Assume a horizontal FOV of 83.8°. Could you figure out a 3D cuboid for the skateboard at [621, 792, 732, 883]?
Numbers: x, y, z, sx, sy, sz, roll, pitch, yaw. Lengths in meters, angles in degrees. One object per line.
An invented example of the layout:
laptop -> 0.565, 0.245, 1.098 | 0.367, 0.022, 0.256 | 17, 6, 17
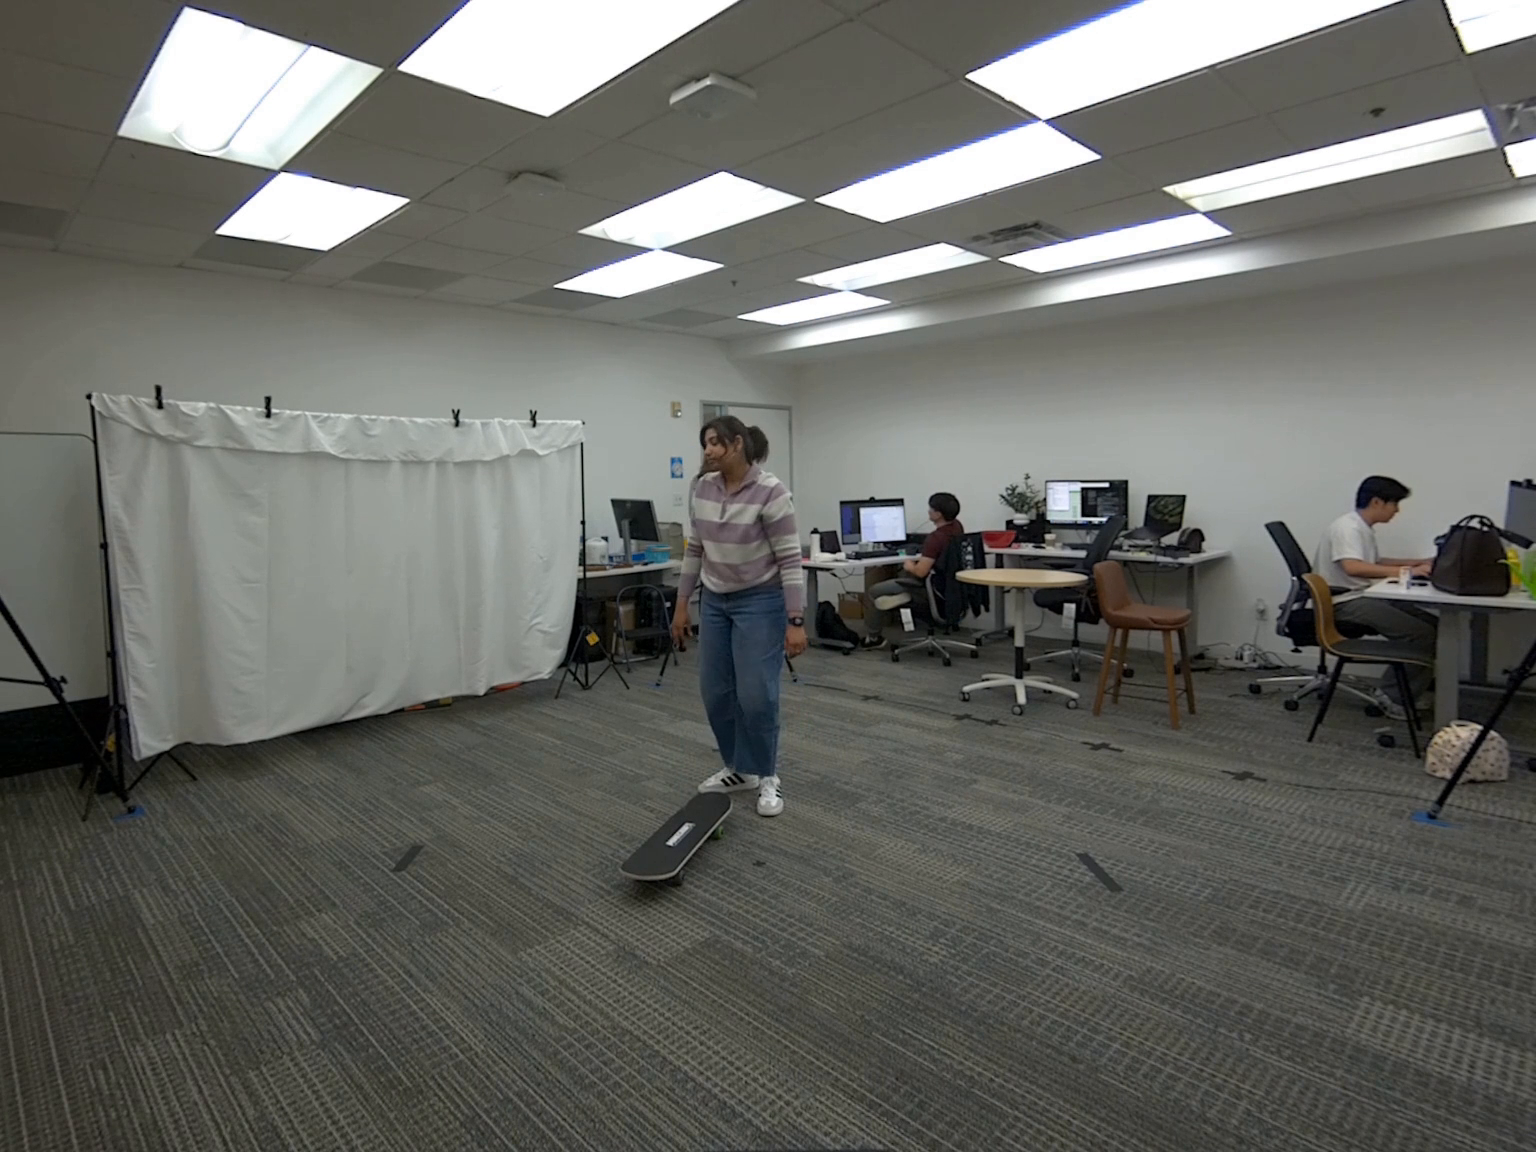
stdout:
skateboard -> -0.319, 0.987, 3.169 | 0.197, 0.110, 0.776 | 2, 7, 16
